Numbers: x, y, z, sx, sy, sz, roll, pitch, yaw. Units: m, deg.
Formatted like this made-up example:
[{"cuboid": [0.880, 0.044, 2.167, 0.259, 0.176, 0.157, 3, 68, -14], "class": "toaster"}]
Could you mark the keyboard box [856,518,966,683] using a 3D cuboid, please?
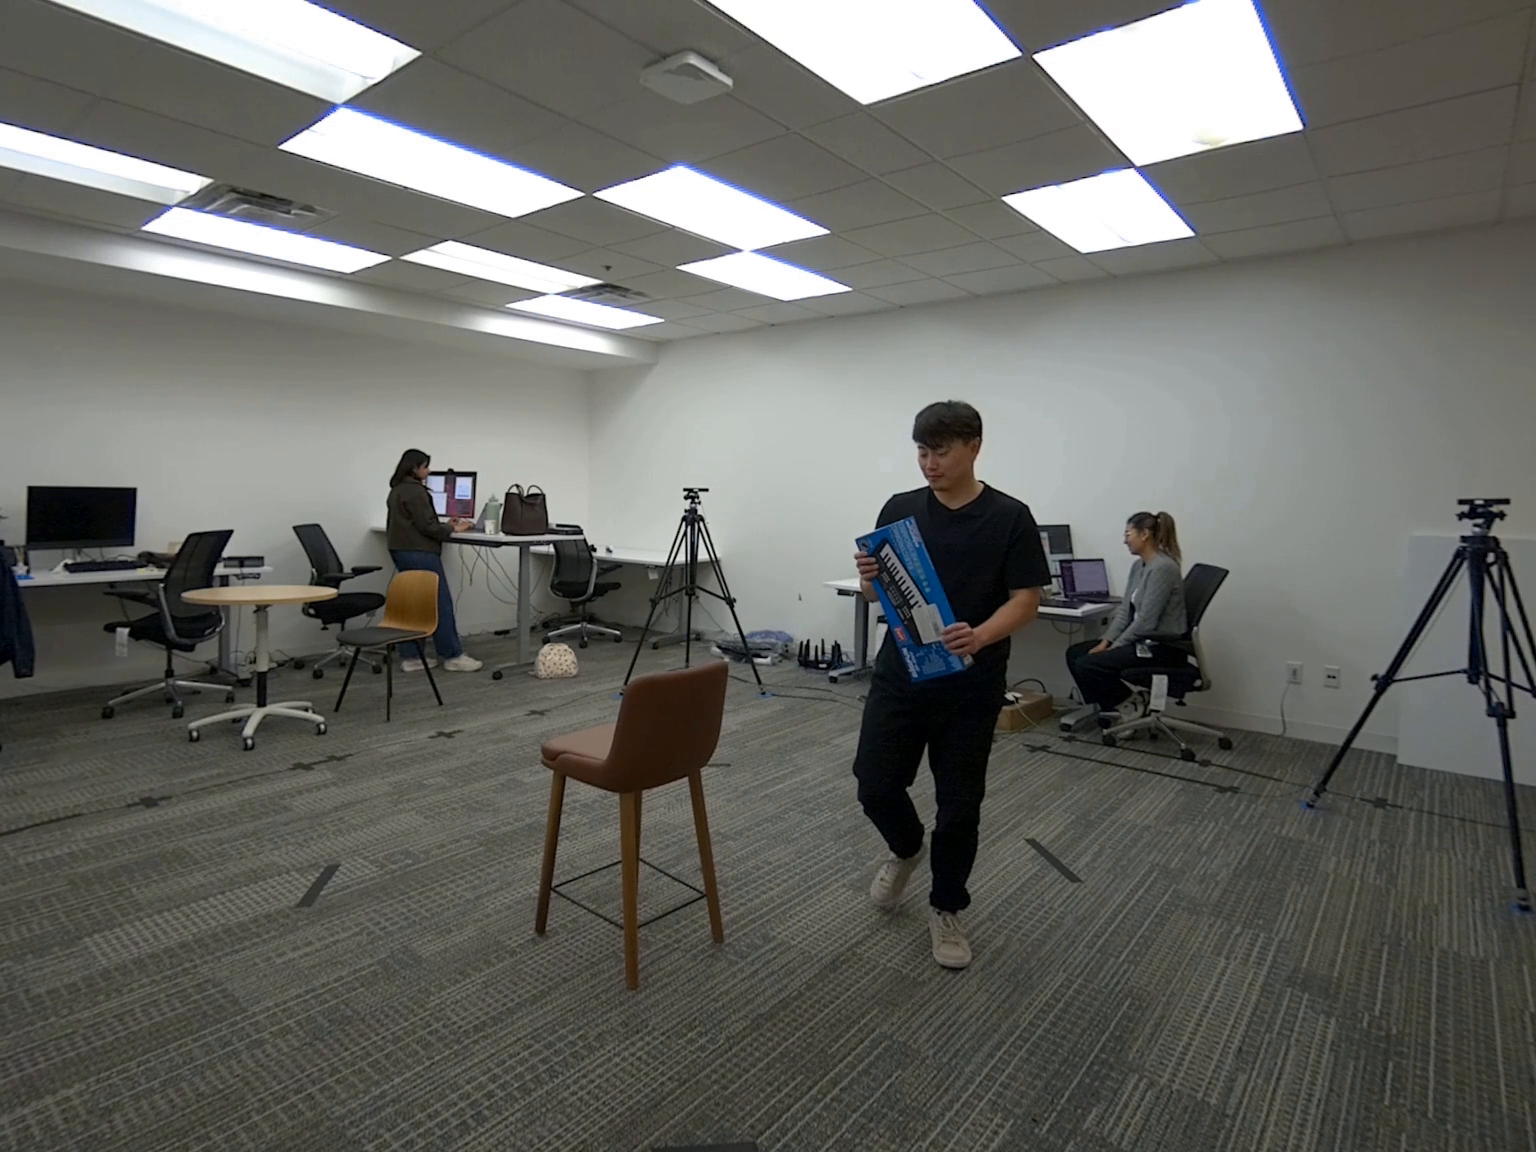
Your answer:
[{"cuboid": [0.402, 0.065, 2.381, 0.179, 0.439, 0.058, -24, -5, 42], "class": "keyboard box"}]
